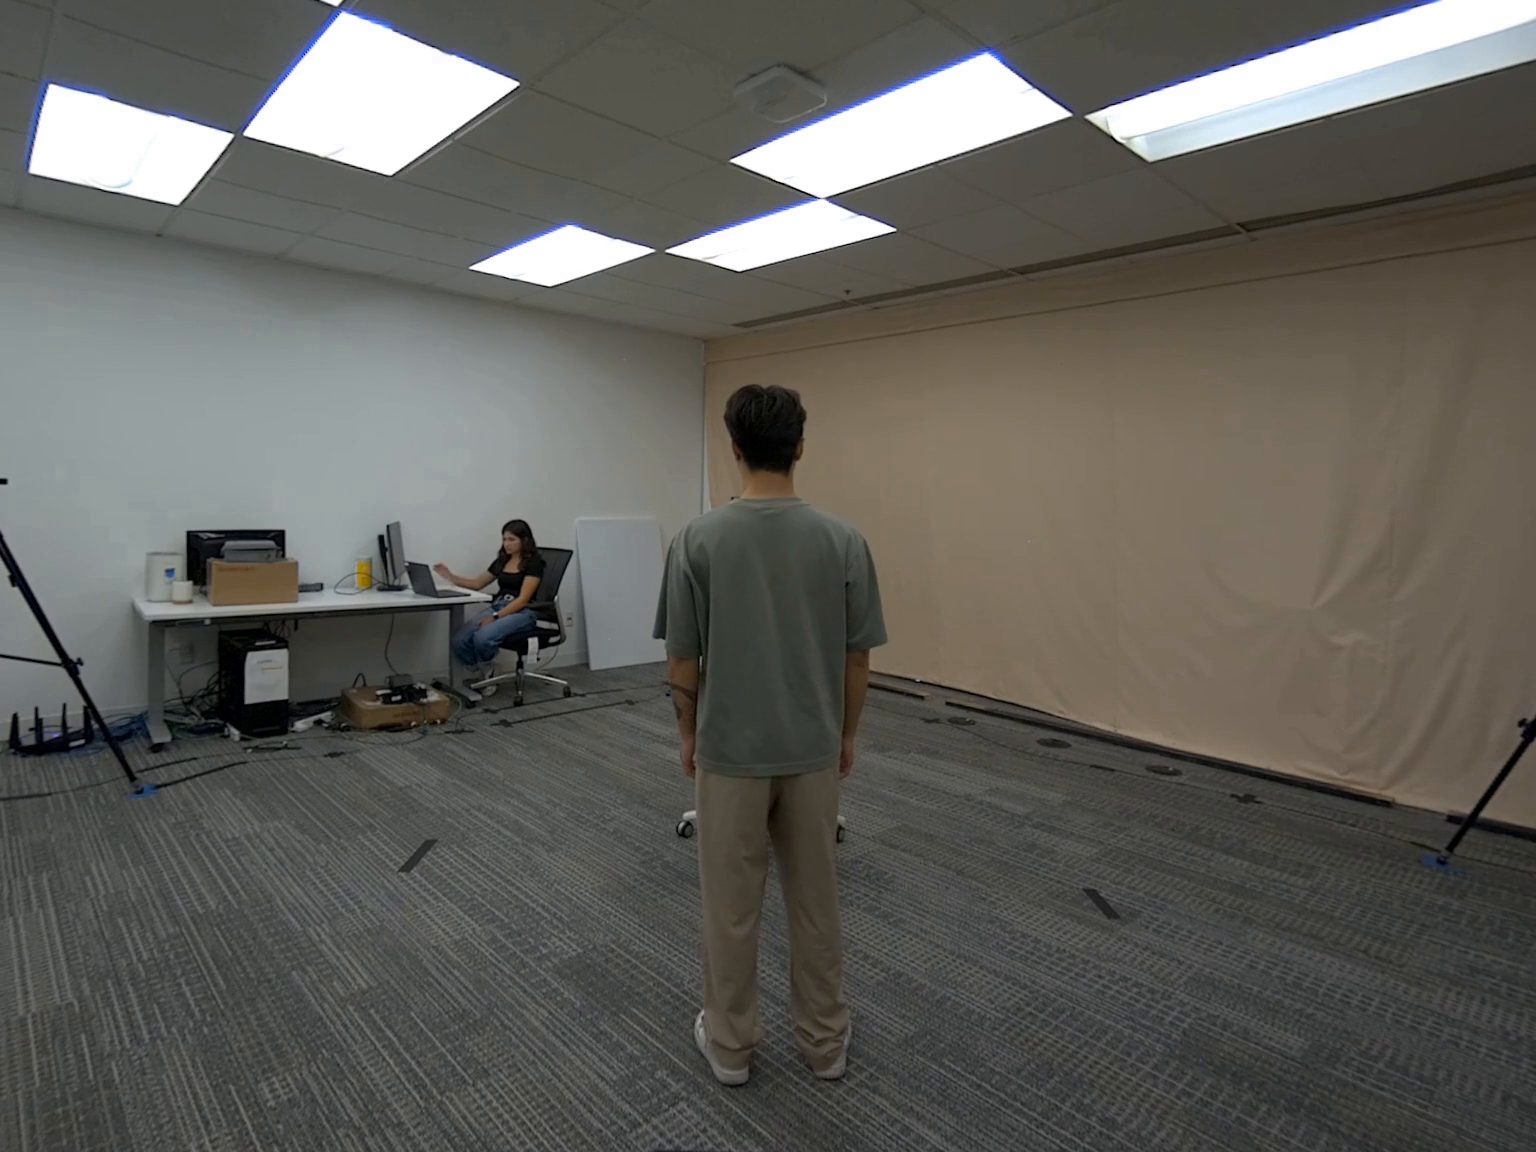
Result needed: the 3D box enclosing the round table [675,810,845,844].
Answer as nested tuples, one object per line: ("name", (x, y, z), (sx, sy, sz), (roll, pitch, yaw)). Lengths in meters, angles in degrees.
("round table", (-0.027, 0.695, 3.364), (0.784, 0.784, 0.788), (1, 4, -1))
